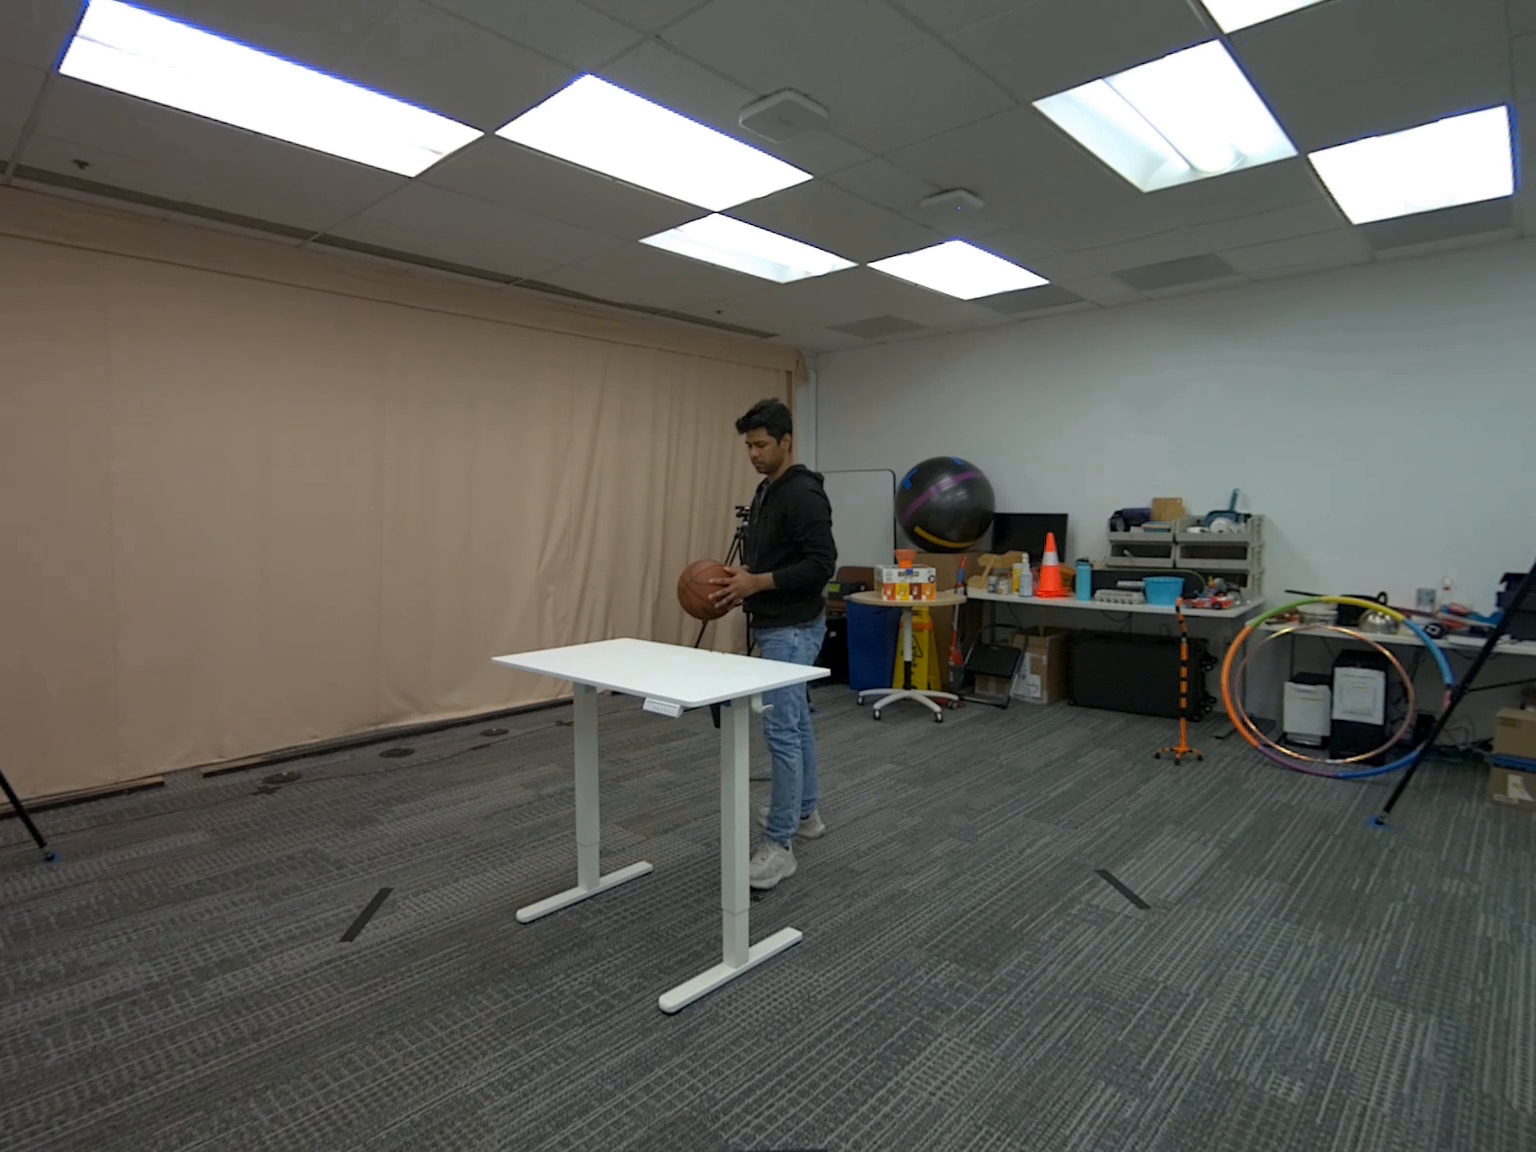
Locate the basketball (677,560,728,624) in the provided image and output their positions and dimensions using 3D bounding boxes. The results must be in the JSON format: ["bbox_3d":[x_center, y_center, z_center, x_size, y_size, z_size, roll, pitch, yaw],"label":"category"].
[{"bbox_3d":[-0.228,0.060,3.295,0.236,0.235,0.237,0,4,-2],"label":"basketball"}]
